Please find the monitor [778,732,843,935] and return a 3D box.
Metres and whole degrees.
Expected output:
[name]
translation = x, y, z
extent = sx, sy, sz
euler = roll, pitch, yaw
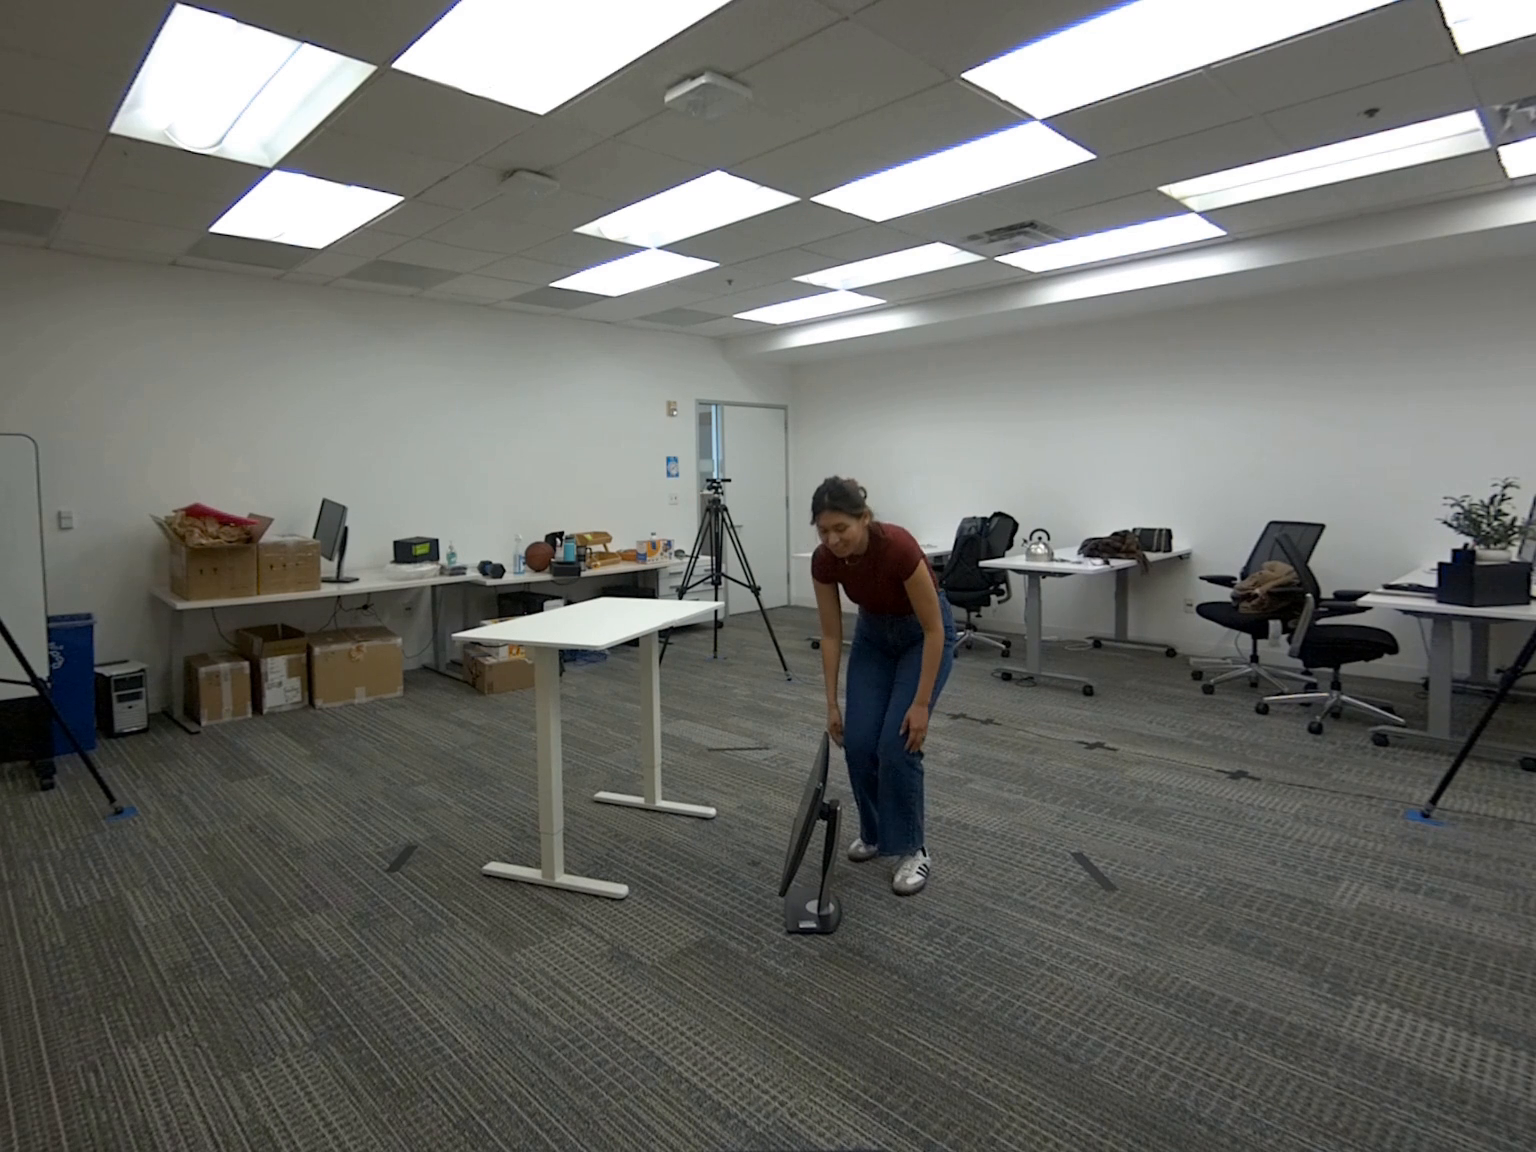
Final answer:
[monitor]
translation = 0.160, 0.834, 2.729
extent = 0.188, 0.520, 0.537
euler = 2, 5, 6
